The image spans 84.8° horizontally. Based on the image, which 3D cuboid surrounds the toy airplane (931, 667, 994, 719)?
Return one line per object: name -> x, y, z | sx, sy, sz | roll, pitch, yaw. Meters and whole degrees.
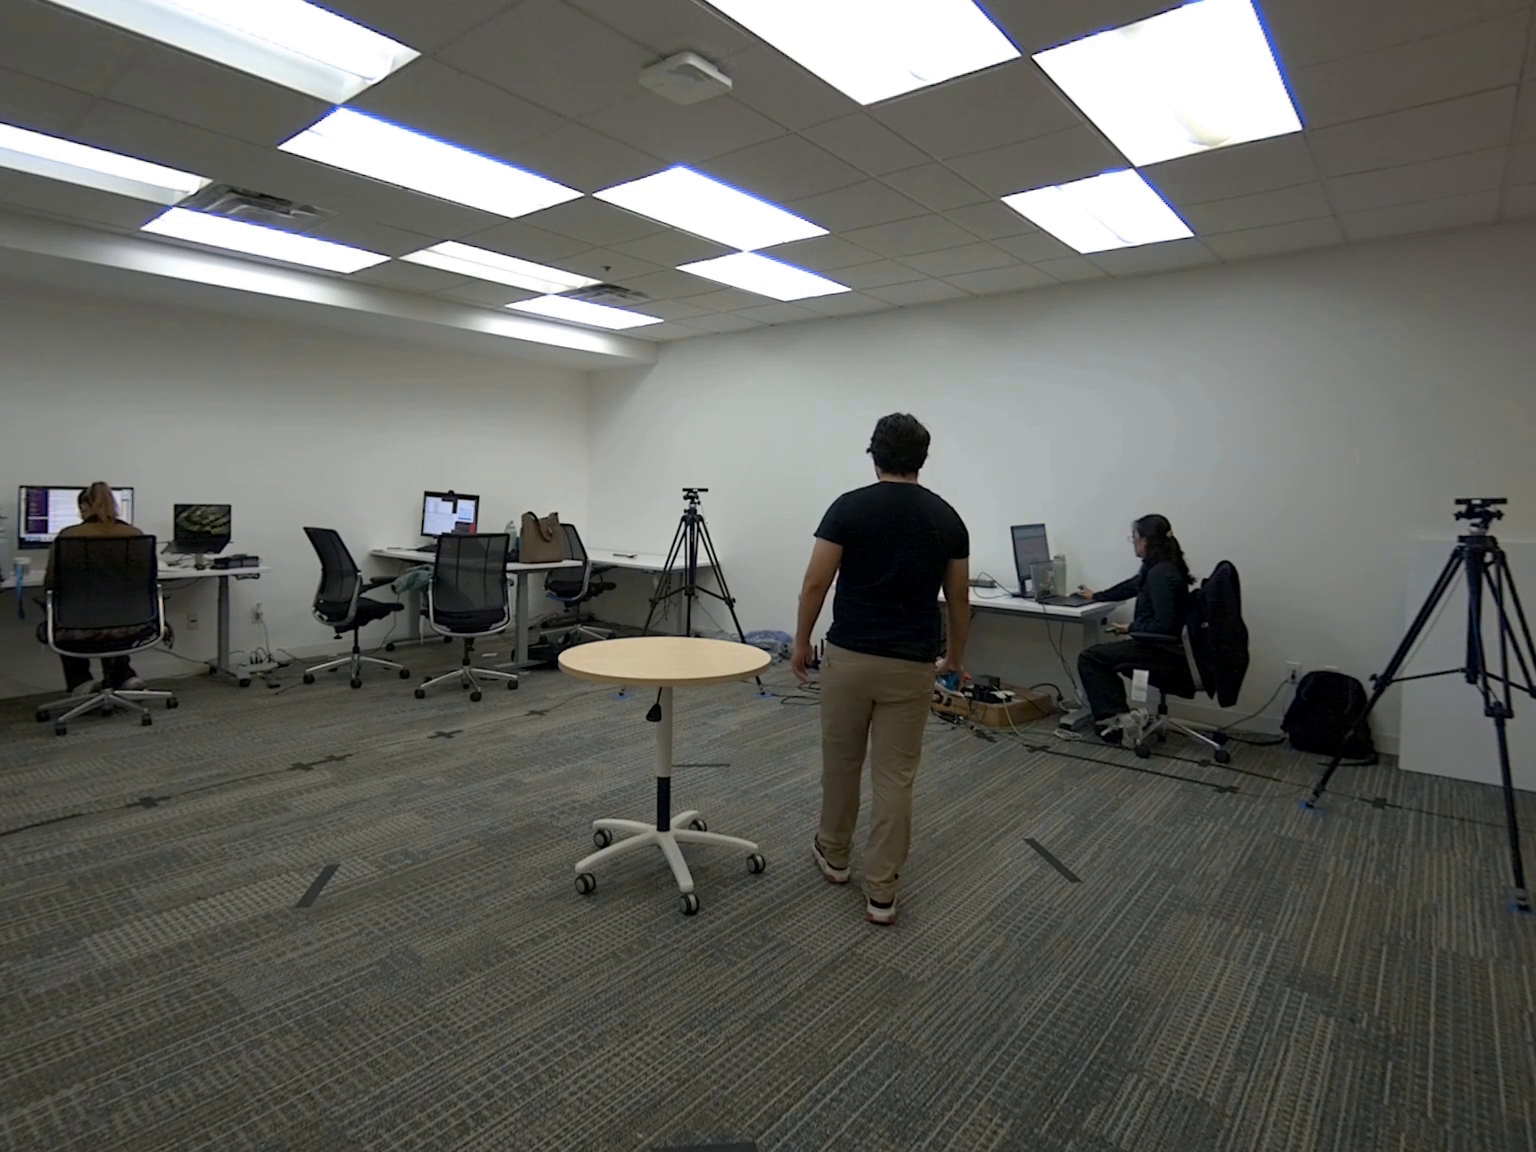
toy airplane -> 0.632, 0.392, 3.105 | 0.241, 0.157, 0.269 | 21, -4, -43
